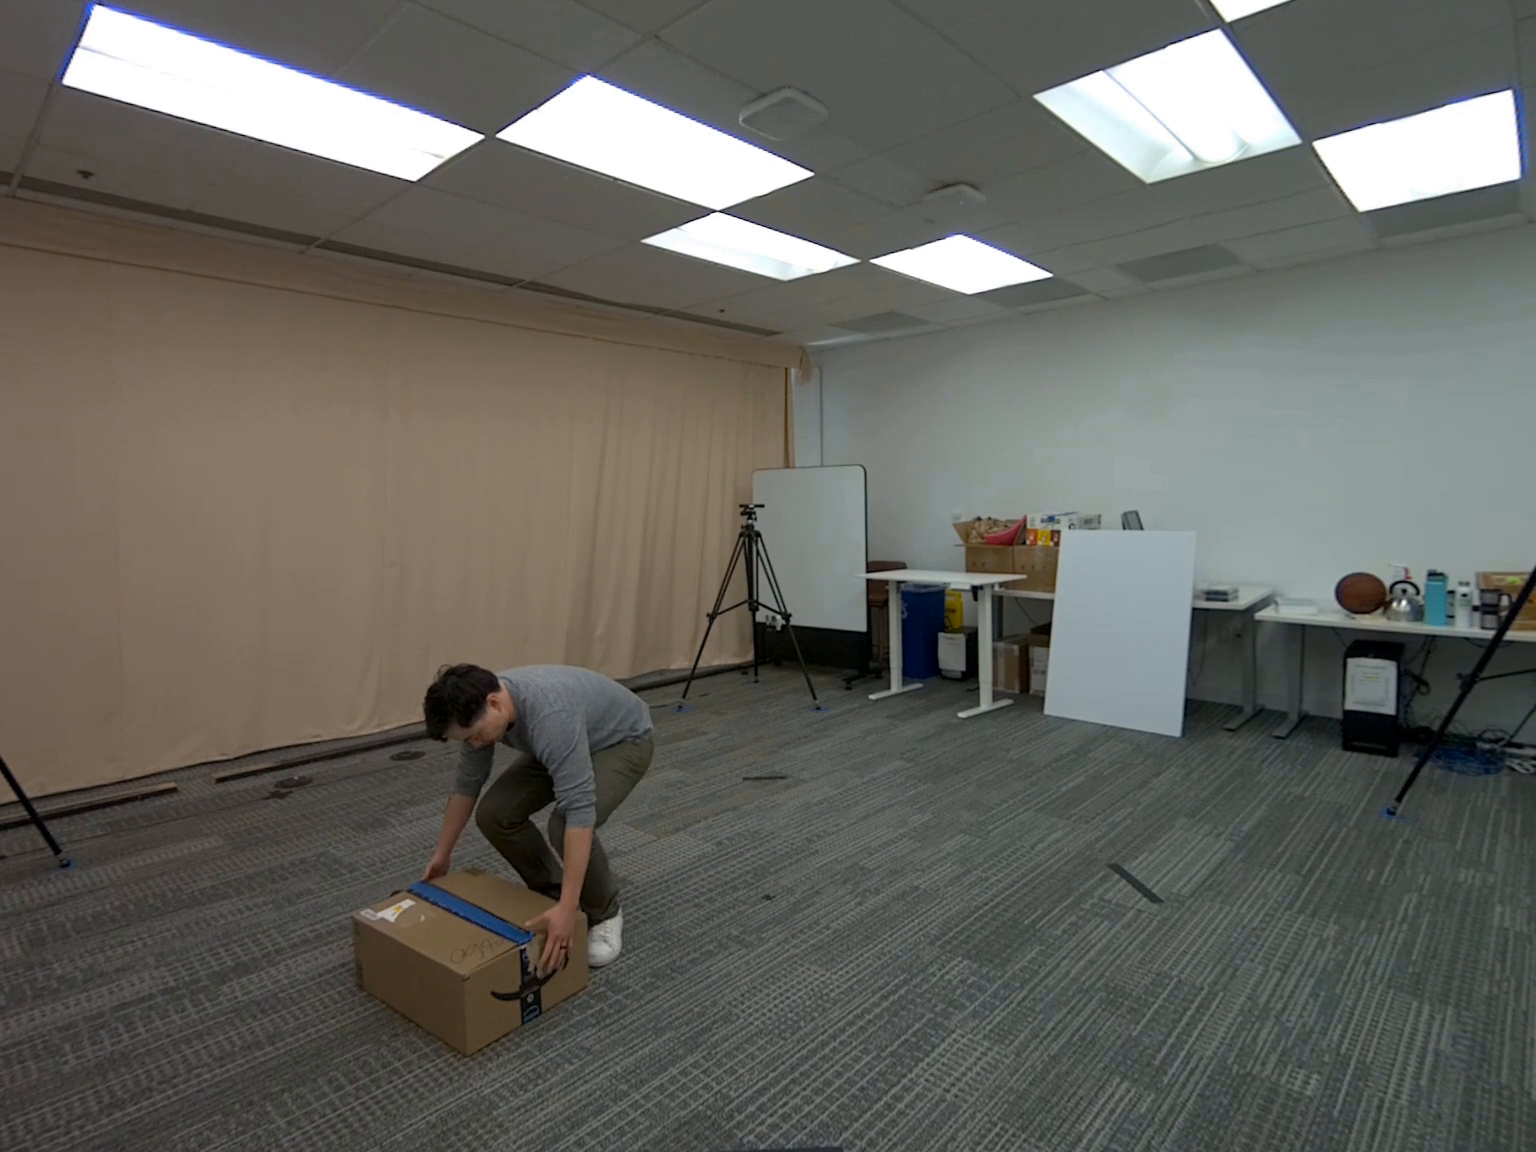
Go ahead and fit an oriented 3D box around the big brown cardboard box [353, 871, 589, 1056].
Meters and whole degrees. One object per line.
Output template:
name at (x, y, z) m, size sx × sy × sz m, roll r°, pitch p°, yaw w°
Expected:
big brown cardboard box at (-0.874, 1.086, 2.476) m, size 0.608 × 0.232 × 0.405 m, roll 3°, pitch 6°, yaw 37°
